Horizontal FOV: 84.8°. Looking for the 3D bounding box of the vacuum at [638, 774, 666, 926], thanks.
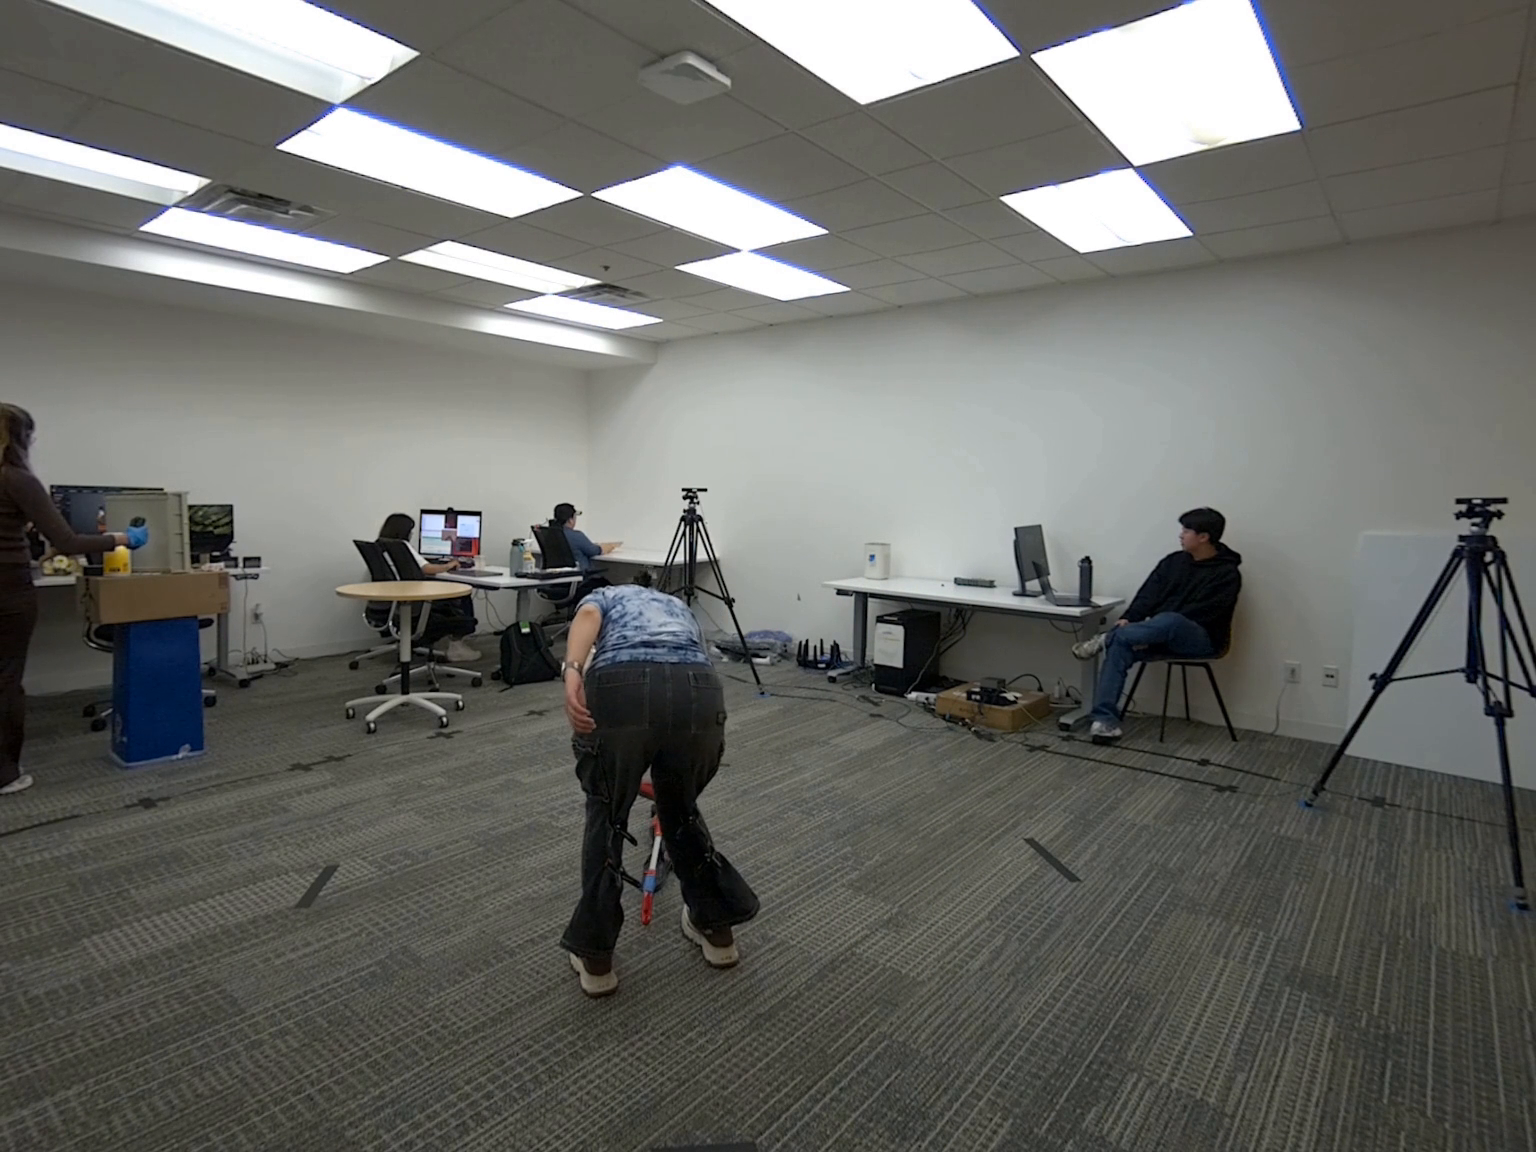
[{"bbox_3d":[-0.402,0.991,3.105,0.252,0.143,1.058,2,7,-4],"label":"vacuum"}]
